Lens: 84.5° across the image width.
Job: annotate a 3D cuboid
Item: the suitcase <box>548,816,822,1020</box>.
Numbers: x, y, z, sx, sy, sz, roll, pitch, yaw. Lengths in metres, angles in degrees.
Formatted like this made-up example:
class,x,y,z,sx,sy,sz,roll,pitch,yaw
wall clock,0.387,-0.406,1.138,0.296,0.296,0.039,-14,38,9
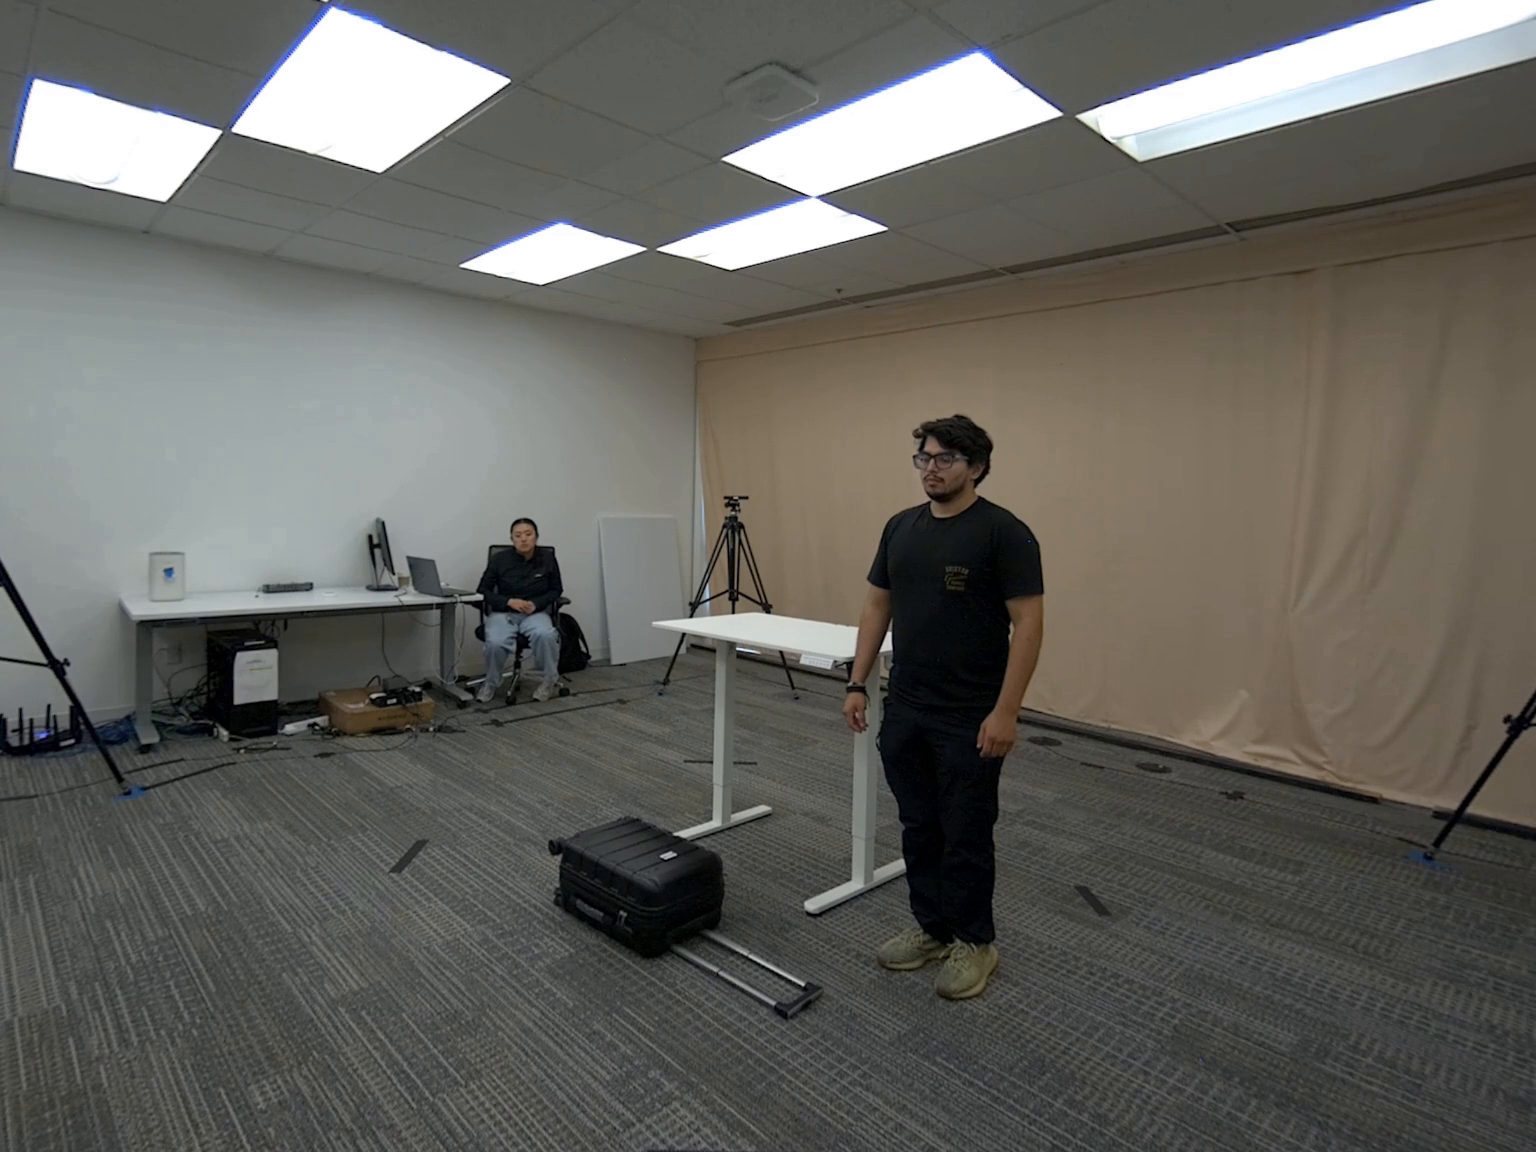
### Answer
class,x,y,z,sx,sy,sz,roll,pitch,yaw
suitcase,-0.274,1.021,2.629,1.003,0.256,0.375,5,5,42
